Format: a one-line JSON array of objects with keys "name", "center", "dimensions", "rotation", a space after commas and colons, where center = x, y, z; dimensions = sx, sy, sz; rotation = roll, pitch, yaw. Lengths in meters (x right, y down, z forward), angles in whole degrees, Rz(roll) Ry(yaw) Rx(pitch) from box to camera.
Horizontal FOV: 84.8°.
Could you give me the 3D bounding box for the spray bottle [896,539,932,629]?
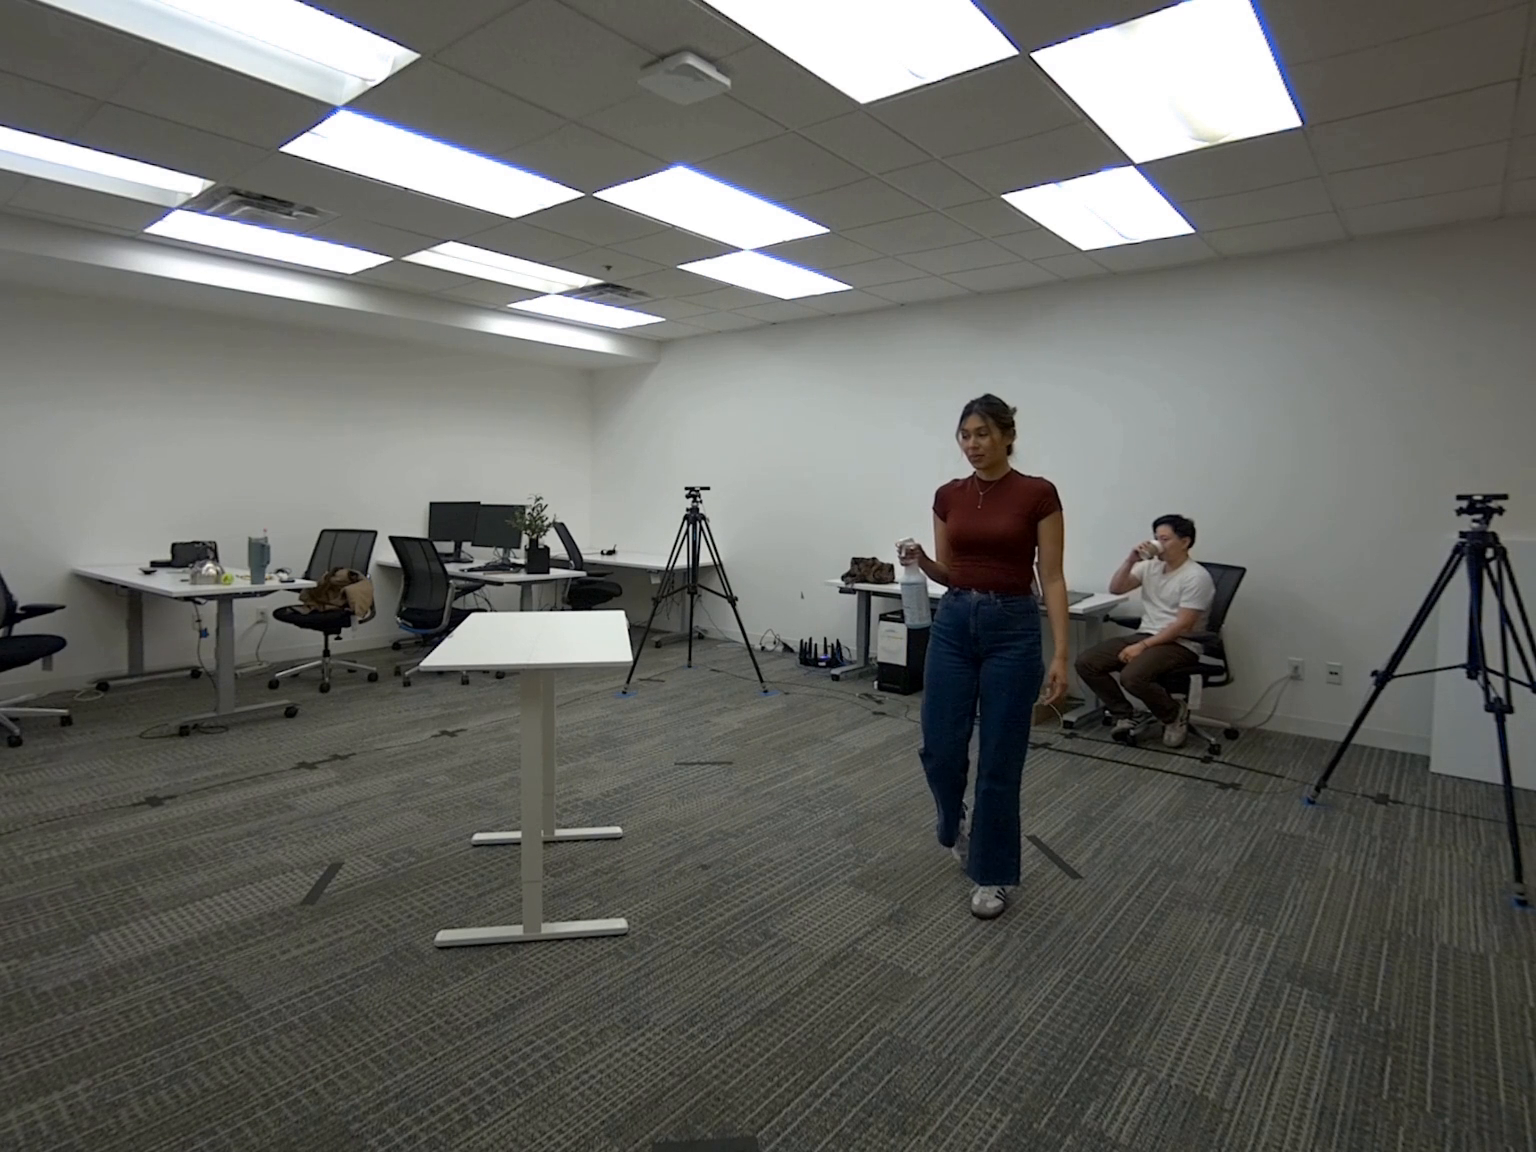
[{"name": "spray bottle", "center": [0.476, 0.020, 2.810], "dimensions": [0.088, 0.295, 0.089], "rotation": [-11, 6, -22]}]
